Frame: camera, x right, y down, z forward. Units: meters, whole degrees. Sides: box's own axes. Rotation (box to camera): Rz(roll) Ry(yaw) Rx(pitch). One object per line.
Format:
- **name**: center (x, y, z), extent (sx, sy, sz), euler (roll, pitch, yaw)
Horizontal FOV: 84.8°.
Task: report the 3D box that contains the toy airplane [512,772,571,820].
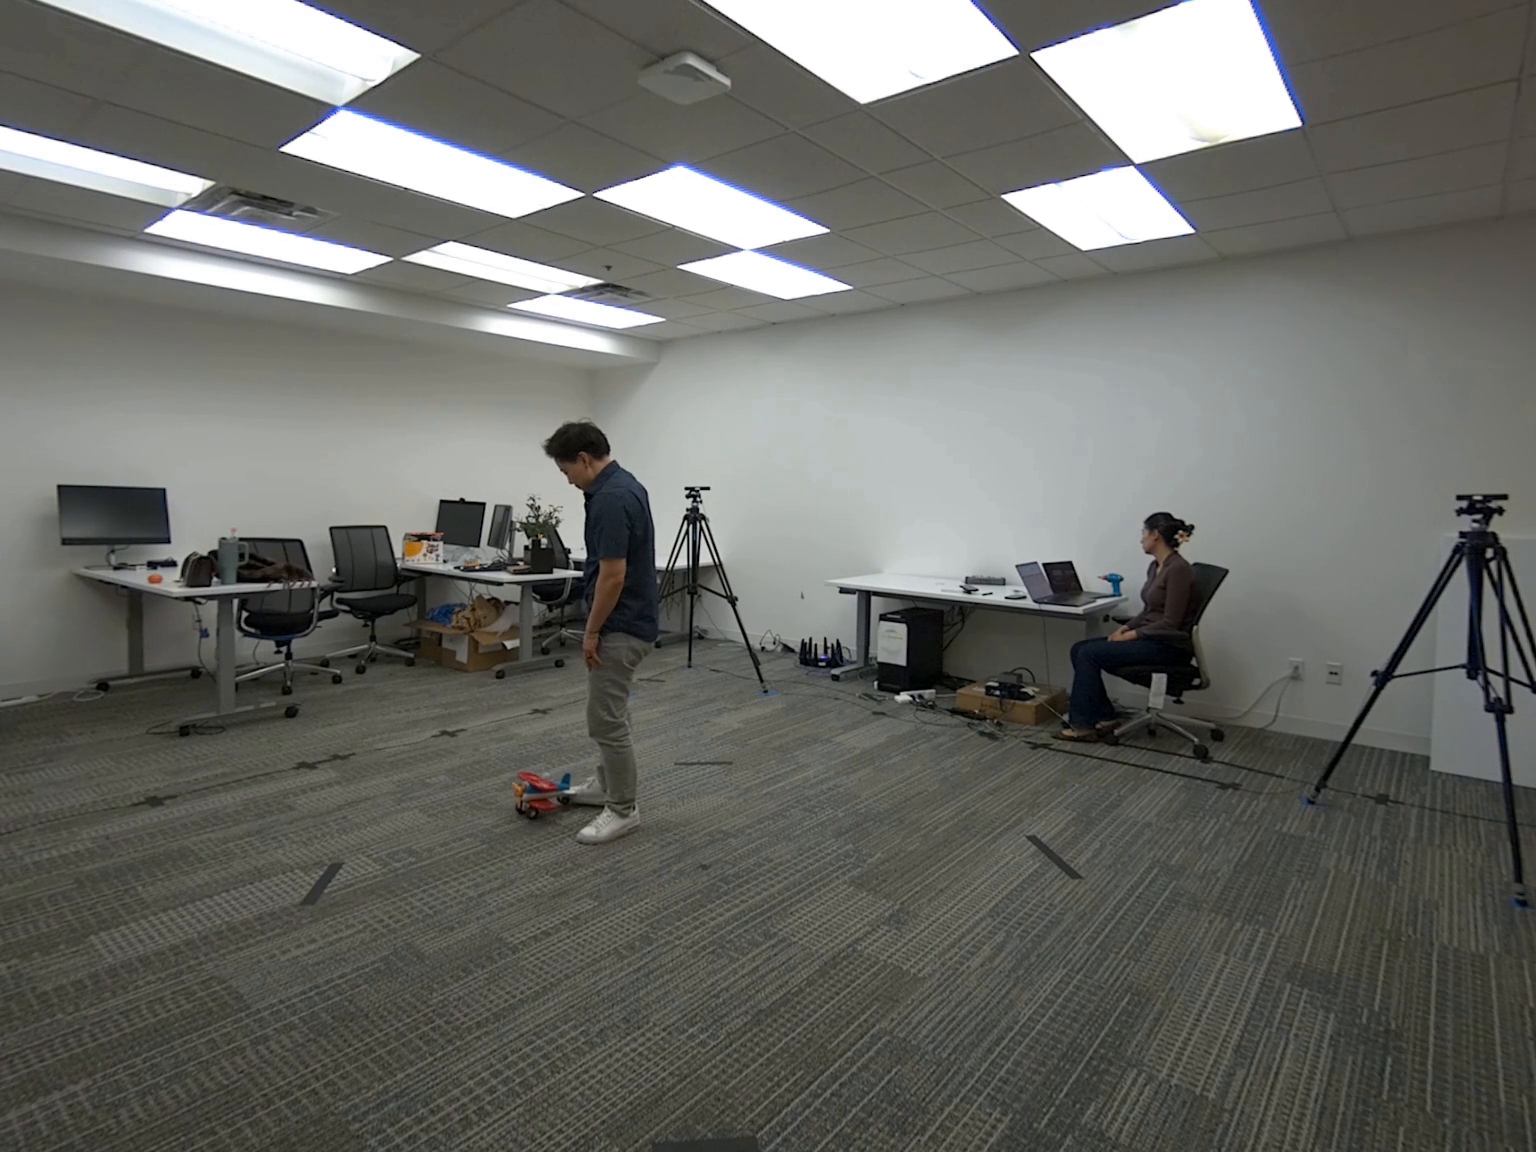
- **toy airplane**: center (-0.991, 0.927, 3.639), extent (0.256, 0.155, 0.256), euler (-1, 8, 19)
